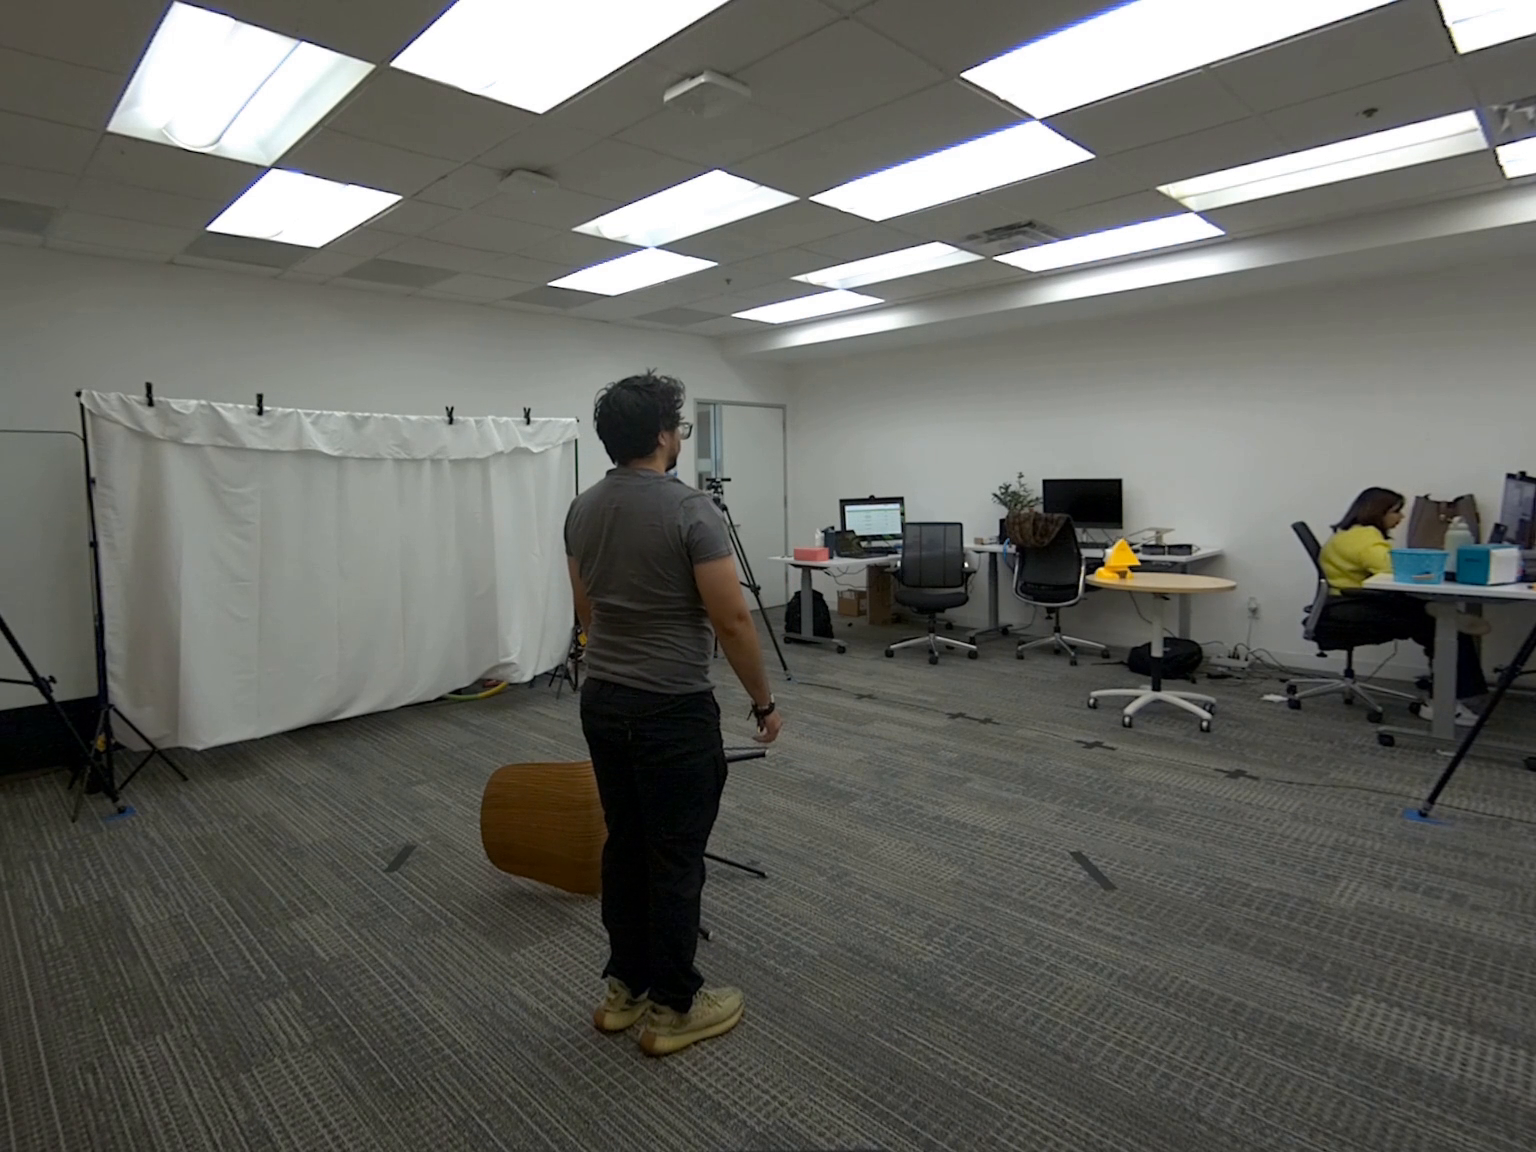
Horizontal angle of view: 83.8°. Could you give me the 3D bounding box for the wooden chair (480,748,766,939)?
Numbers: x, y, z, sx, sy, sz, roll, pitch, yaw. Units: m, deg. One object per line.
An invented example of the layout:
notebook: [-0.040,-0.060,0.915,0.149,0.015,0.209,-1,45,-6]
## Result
wooden chair: [-0.480,0.831,2.966,0.895,0.475,0.516,1,7,21]
